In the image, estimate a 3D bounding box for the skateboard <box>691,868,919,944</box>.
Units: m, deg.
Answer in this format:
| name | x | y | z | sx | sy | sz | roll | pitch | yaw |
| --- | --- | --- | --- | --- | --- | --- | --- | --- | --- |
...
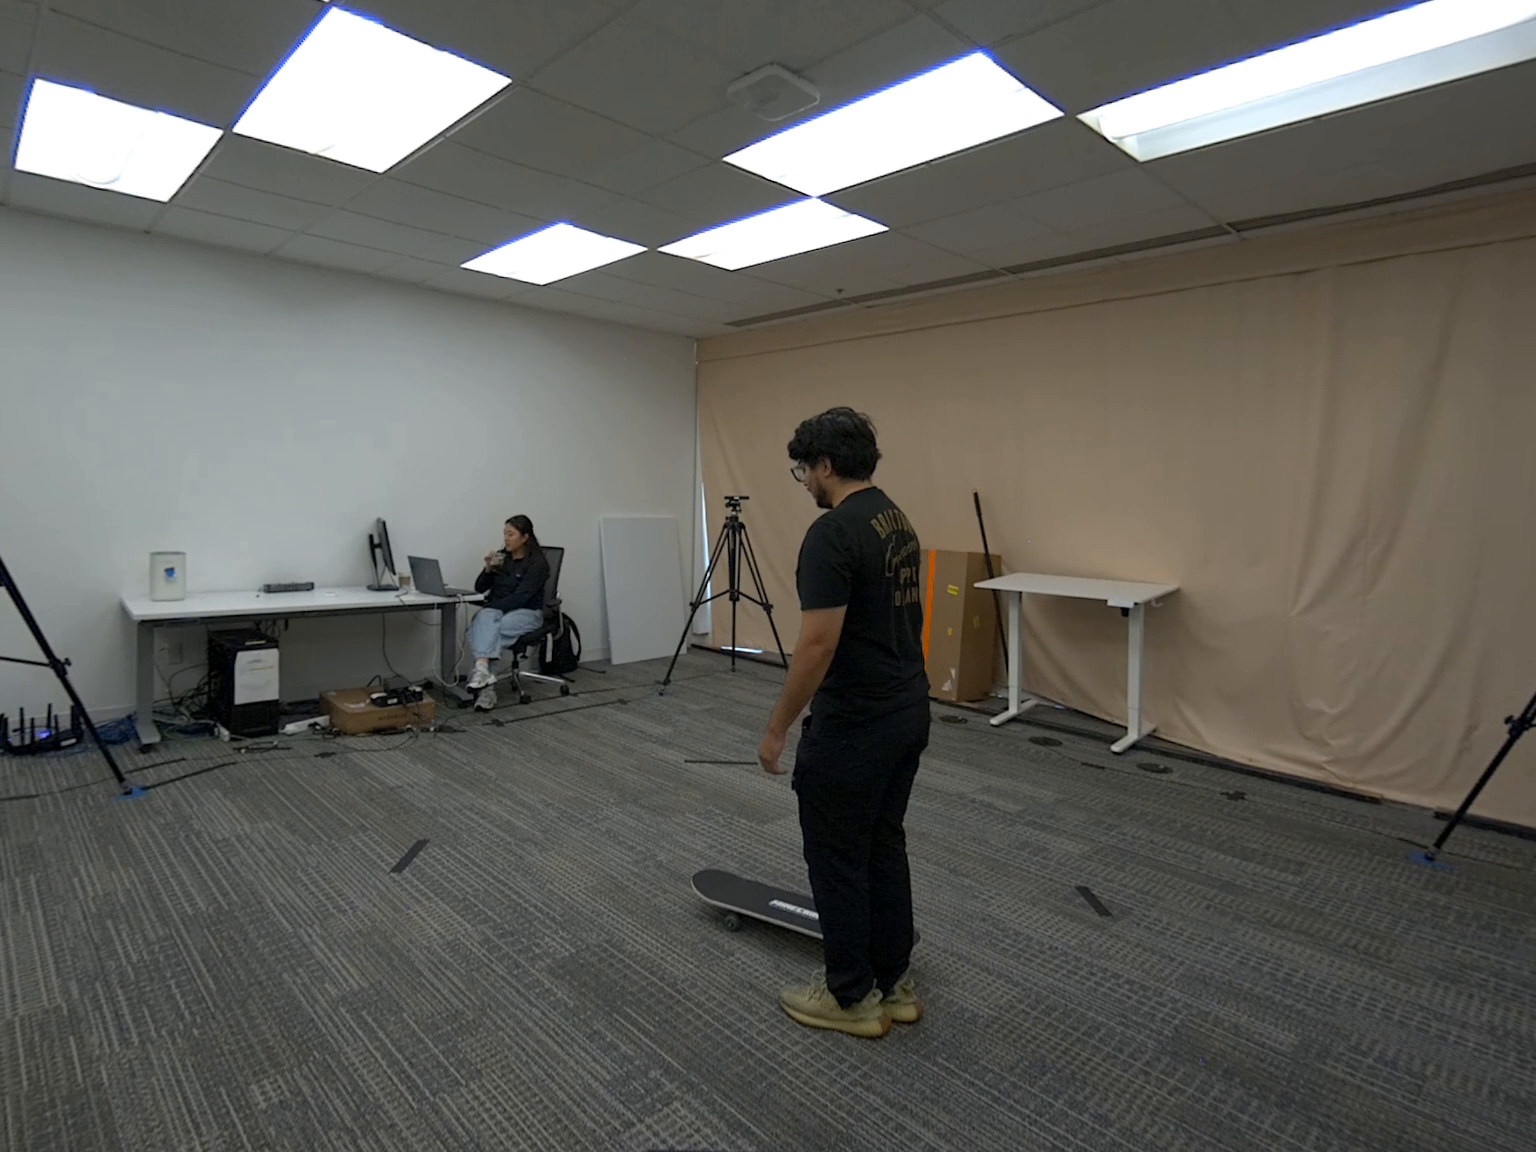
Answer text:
| name | x | y | z | sx | sy | sz | roll | pitch | yaw |
| --- | --- | --- | --- | --- | --- | --- | --- | --- | --- |
| skateboard | 0.087 | 1.094 | 2.669 | 0.803 | 0.110 | 0.190 | 5 | 7 | 31 |
